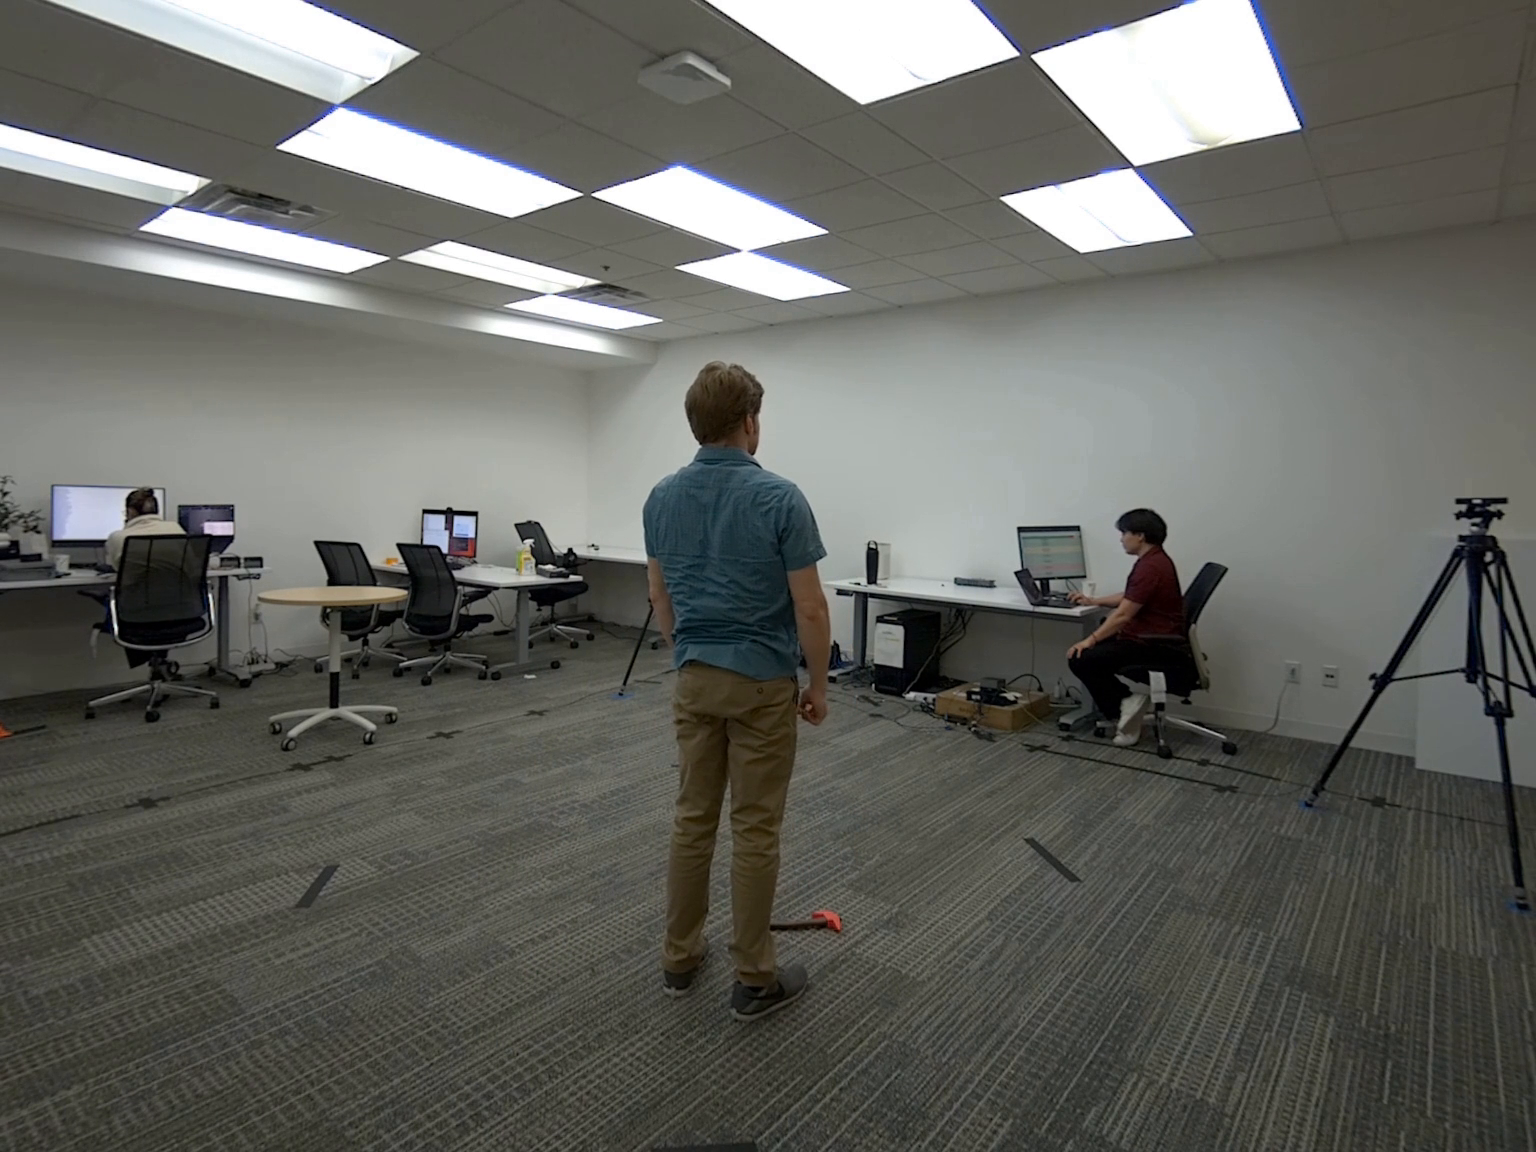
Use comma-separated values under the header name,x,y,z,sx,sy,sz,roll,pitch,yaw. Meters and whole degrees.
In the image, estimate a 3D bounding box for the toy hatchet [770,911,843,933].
name,x,y,z,sx,sy,sz,roll,pitch,yaw
toy hatchet,0.092,1.099,2.736,0.272,0.029,0.131,0,5,5
